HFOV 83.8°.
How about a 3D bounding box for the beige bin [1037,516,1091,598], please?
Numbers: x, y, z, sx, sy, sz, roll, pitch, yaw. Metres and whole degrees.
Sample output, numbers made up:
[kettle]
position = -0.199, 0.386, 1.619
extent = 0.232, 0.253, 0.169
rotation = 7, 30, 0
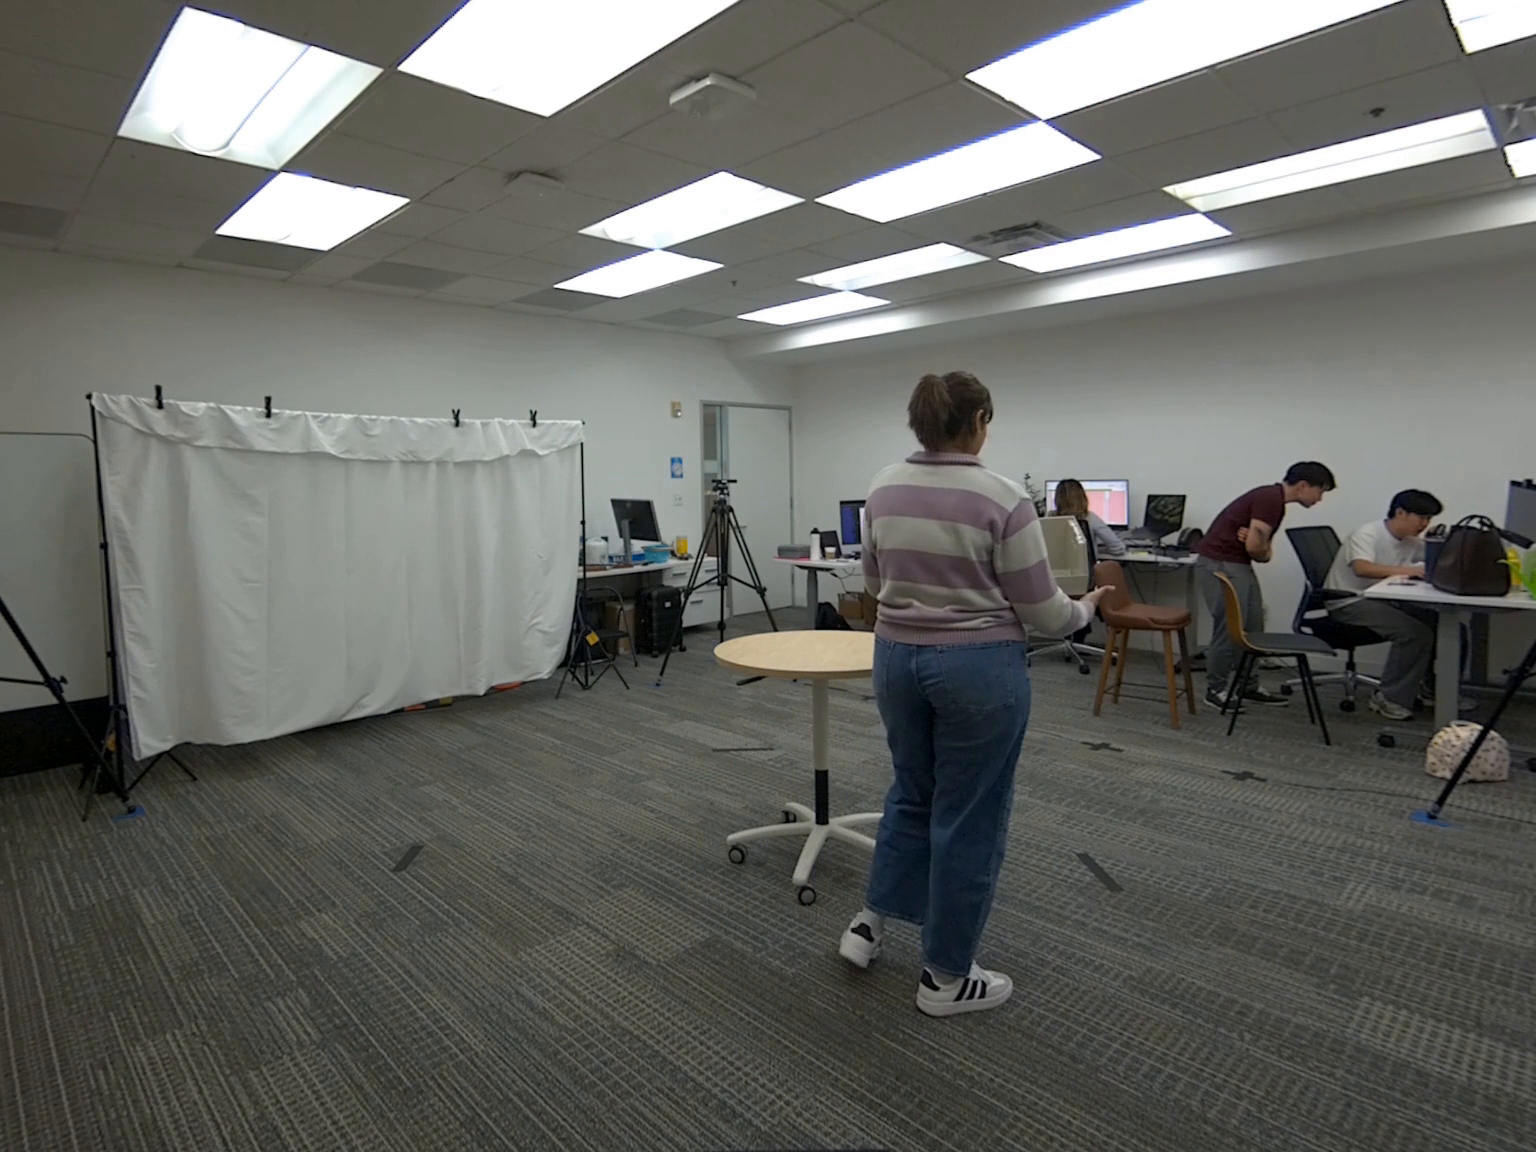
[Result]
[beige bin]
position = 0.713, -0.035, 2.527
extent = 0.429, 0.187, 0.376
rotation = -4, 13, 16
